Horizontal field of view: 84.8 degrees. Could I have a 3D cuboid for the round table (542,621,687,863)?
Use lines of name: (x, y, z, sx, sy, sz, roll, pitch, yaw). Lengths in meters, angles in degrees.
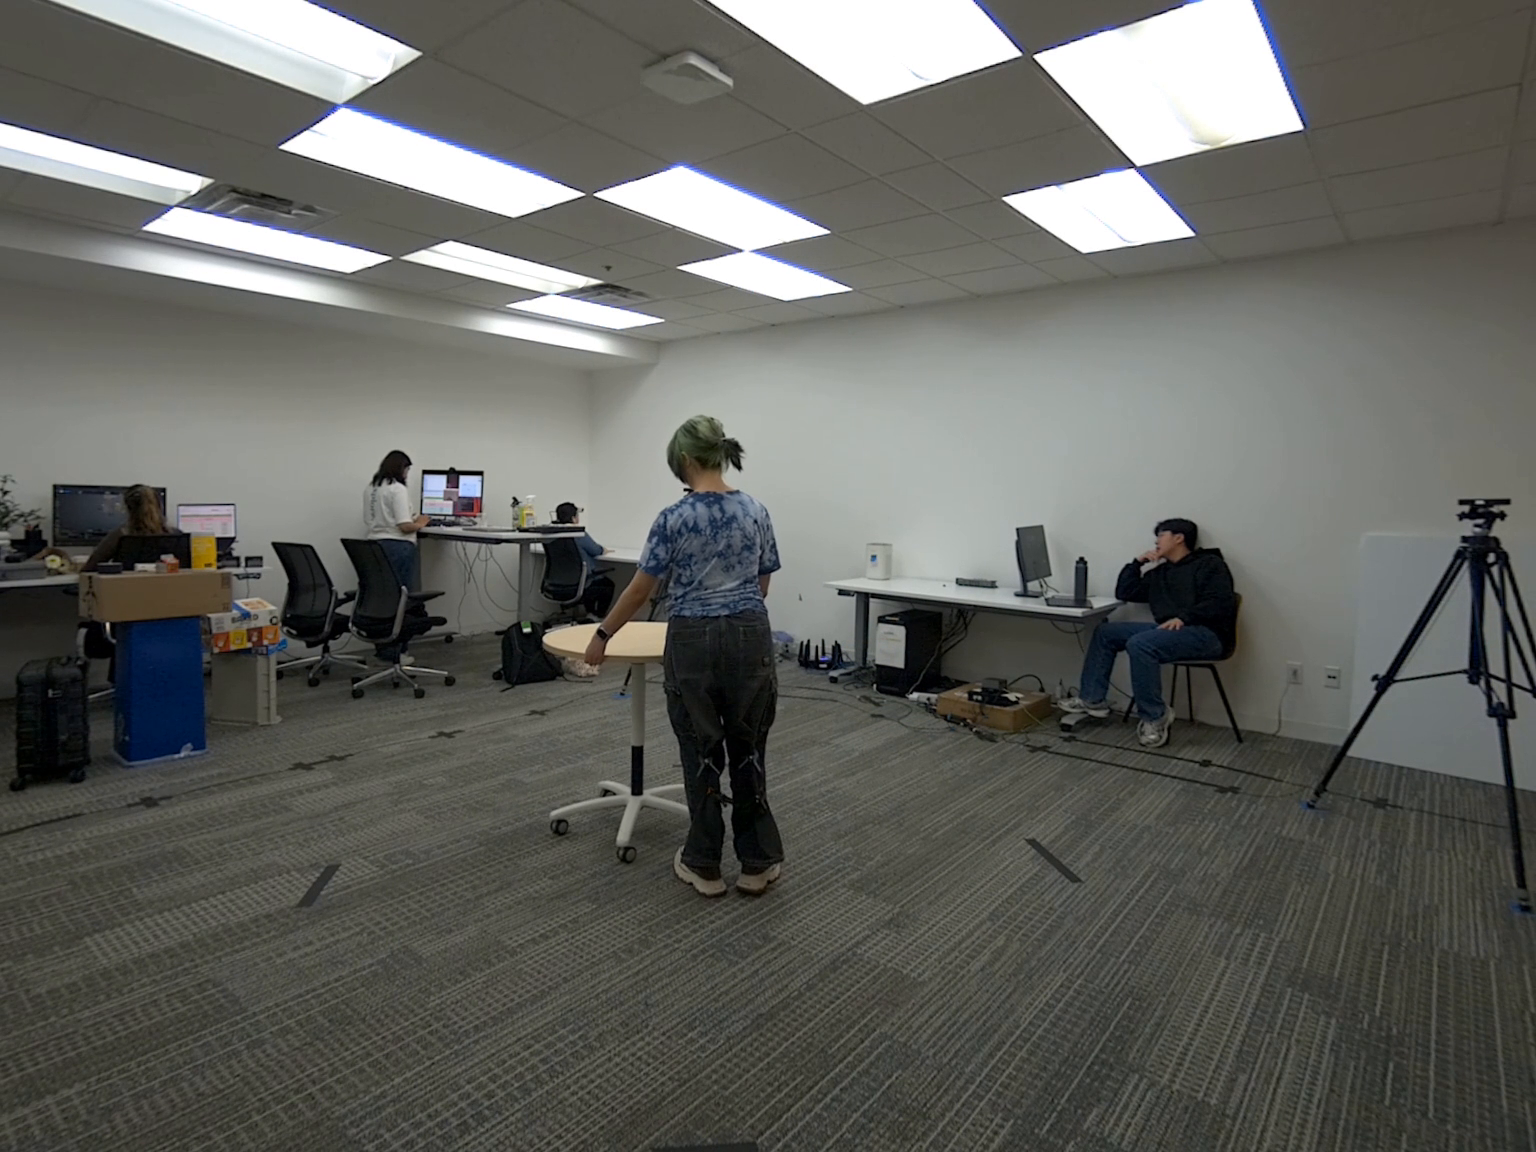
round table: (-0.543, 0.640, 3.458, 0.763, 0.791, 0.768, 1, 4, -2)
